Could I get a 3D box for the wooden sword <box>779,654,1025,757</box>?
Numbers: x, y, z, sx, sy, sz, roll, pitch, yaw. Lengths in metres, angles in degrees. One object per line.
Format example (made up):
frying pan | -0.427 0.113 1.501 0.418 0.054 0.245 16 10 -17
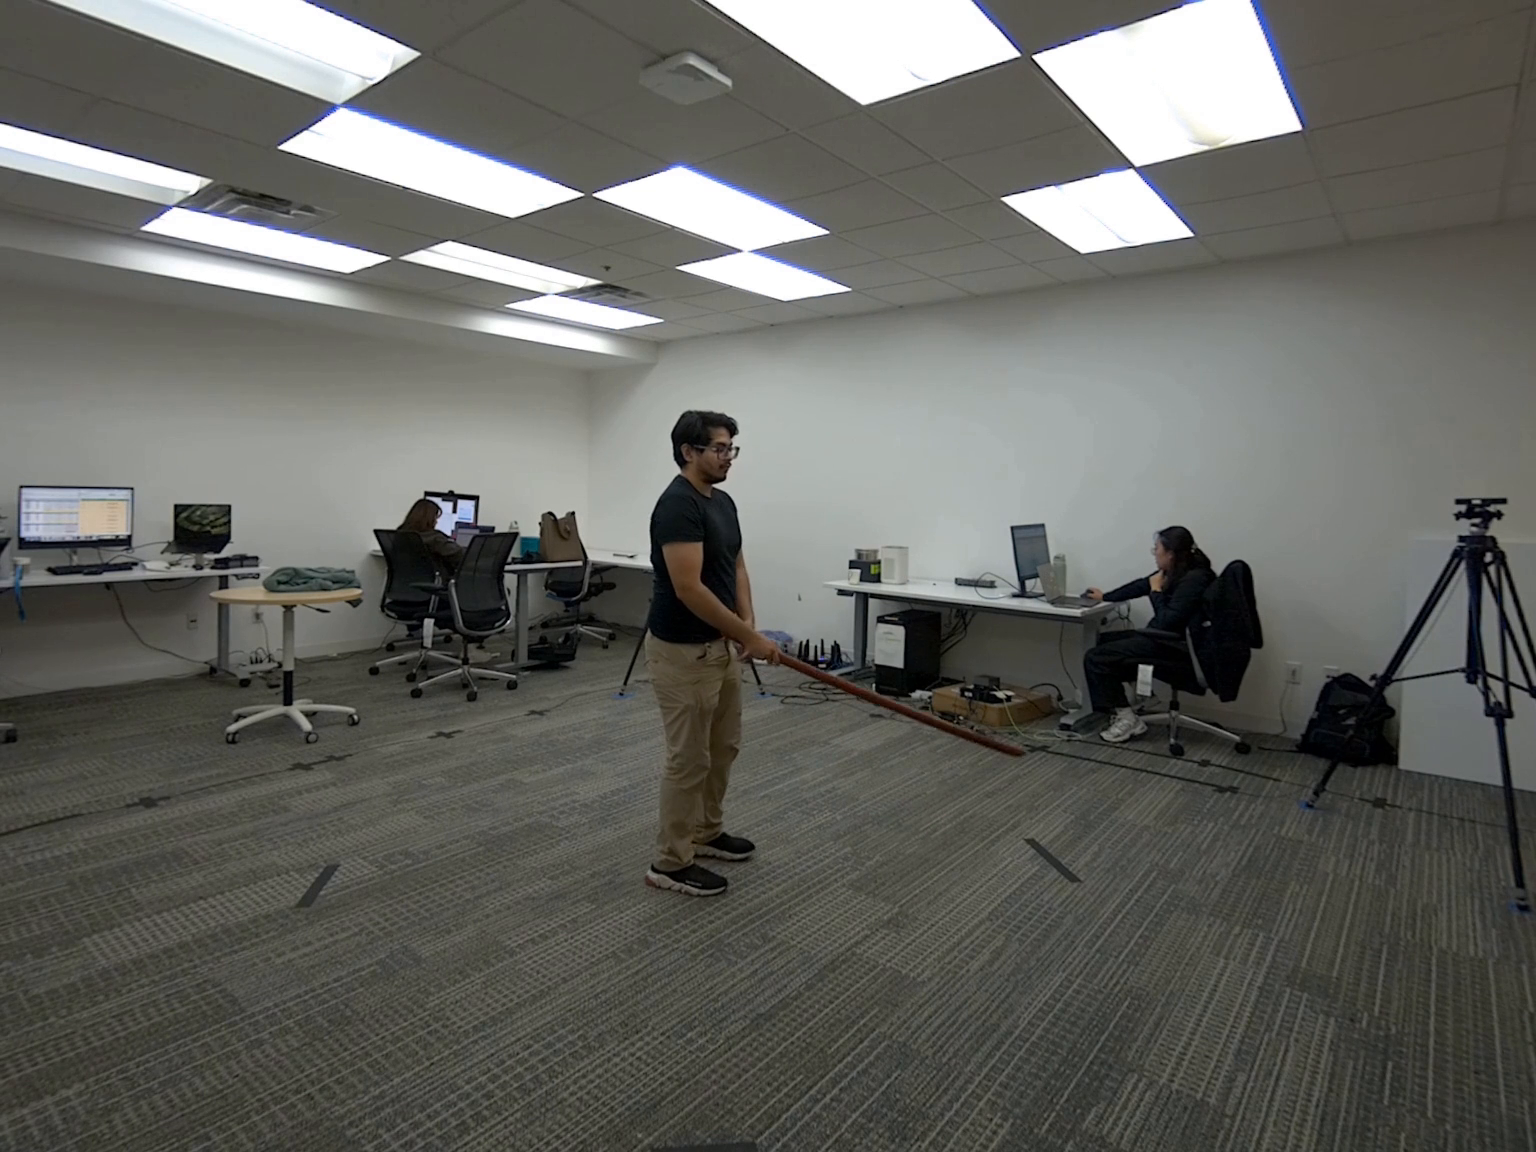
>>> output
wooden sword | 0.344 0.391 2.741 1.044 0.050 0.024 21 43 14
